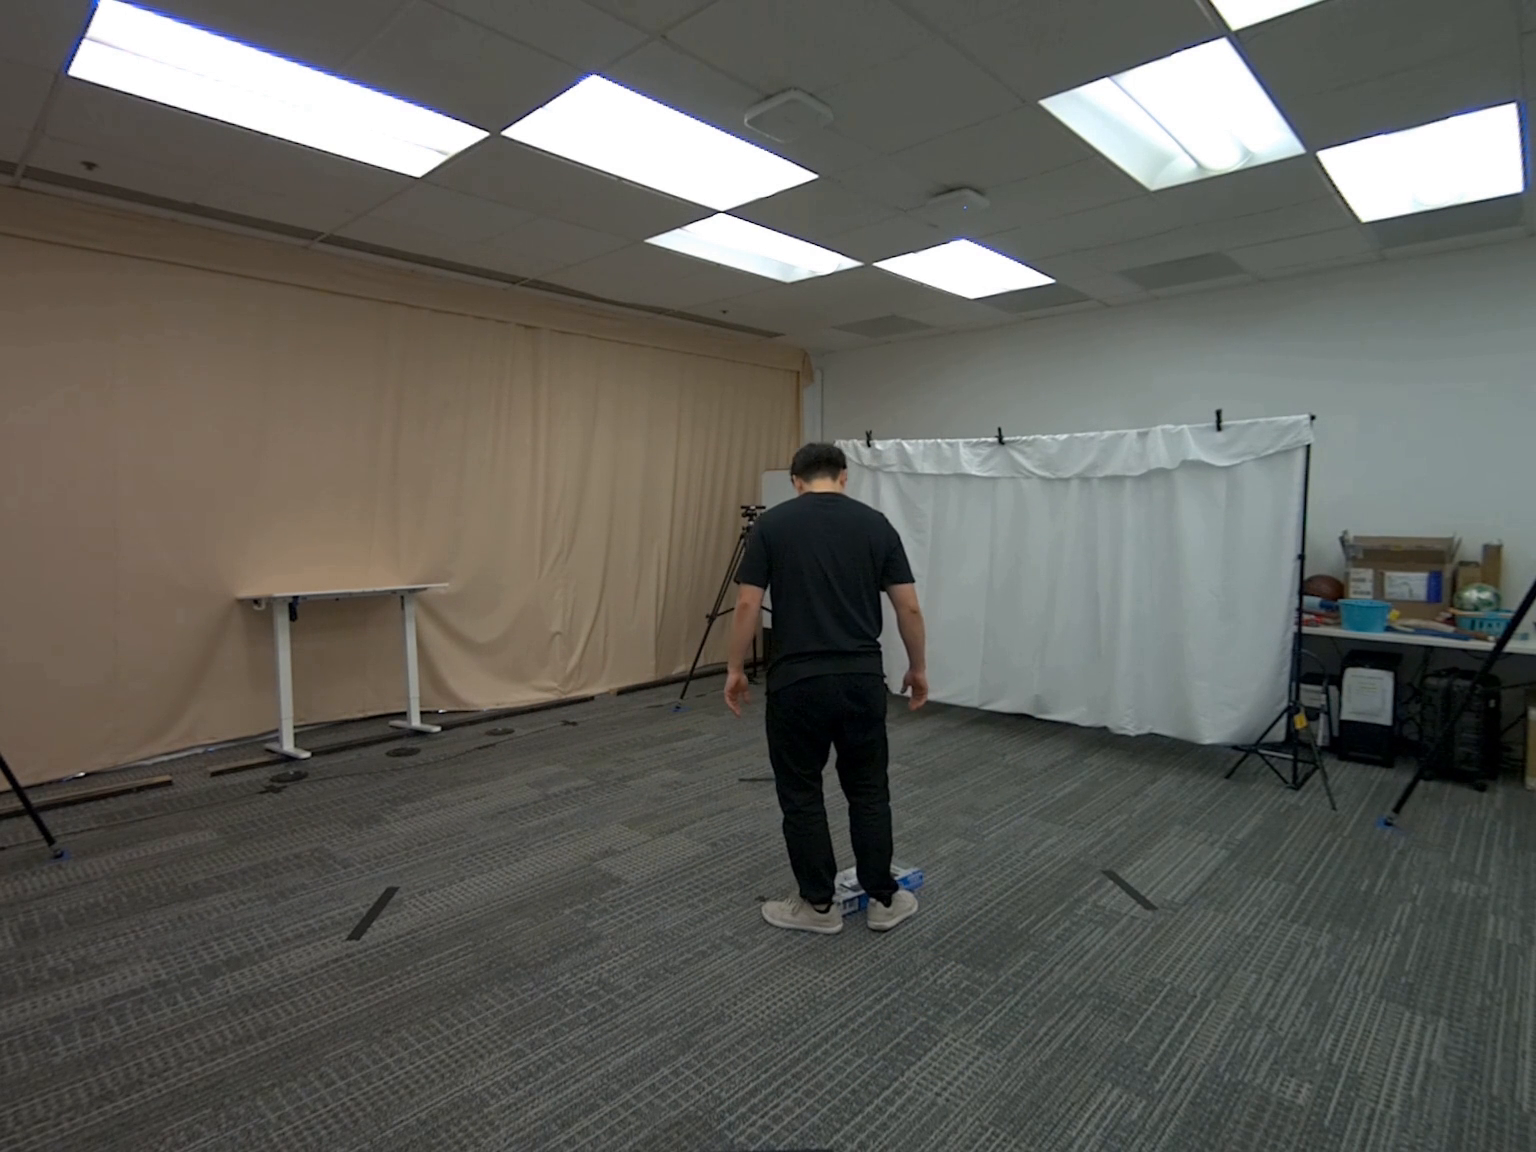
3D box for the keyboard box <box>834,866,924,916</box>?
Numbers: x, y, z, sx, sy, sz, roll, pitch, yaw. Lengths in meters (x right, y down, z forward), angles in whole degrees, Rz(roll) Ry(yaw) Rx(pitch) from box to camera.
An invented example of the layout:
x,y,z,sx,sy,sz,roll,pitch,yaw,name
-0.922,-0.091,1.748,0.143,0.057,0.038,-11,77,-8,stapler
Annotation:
x,y,z,sx,sy,sz,roll,pitch,yaw,name
0.344,1.110,3.024,0.424,0.059,0.181,-4,5,-37,keyboard box
